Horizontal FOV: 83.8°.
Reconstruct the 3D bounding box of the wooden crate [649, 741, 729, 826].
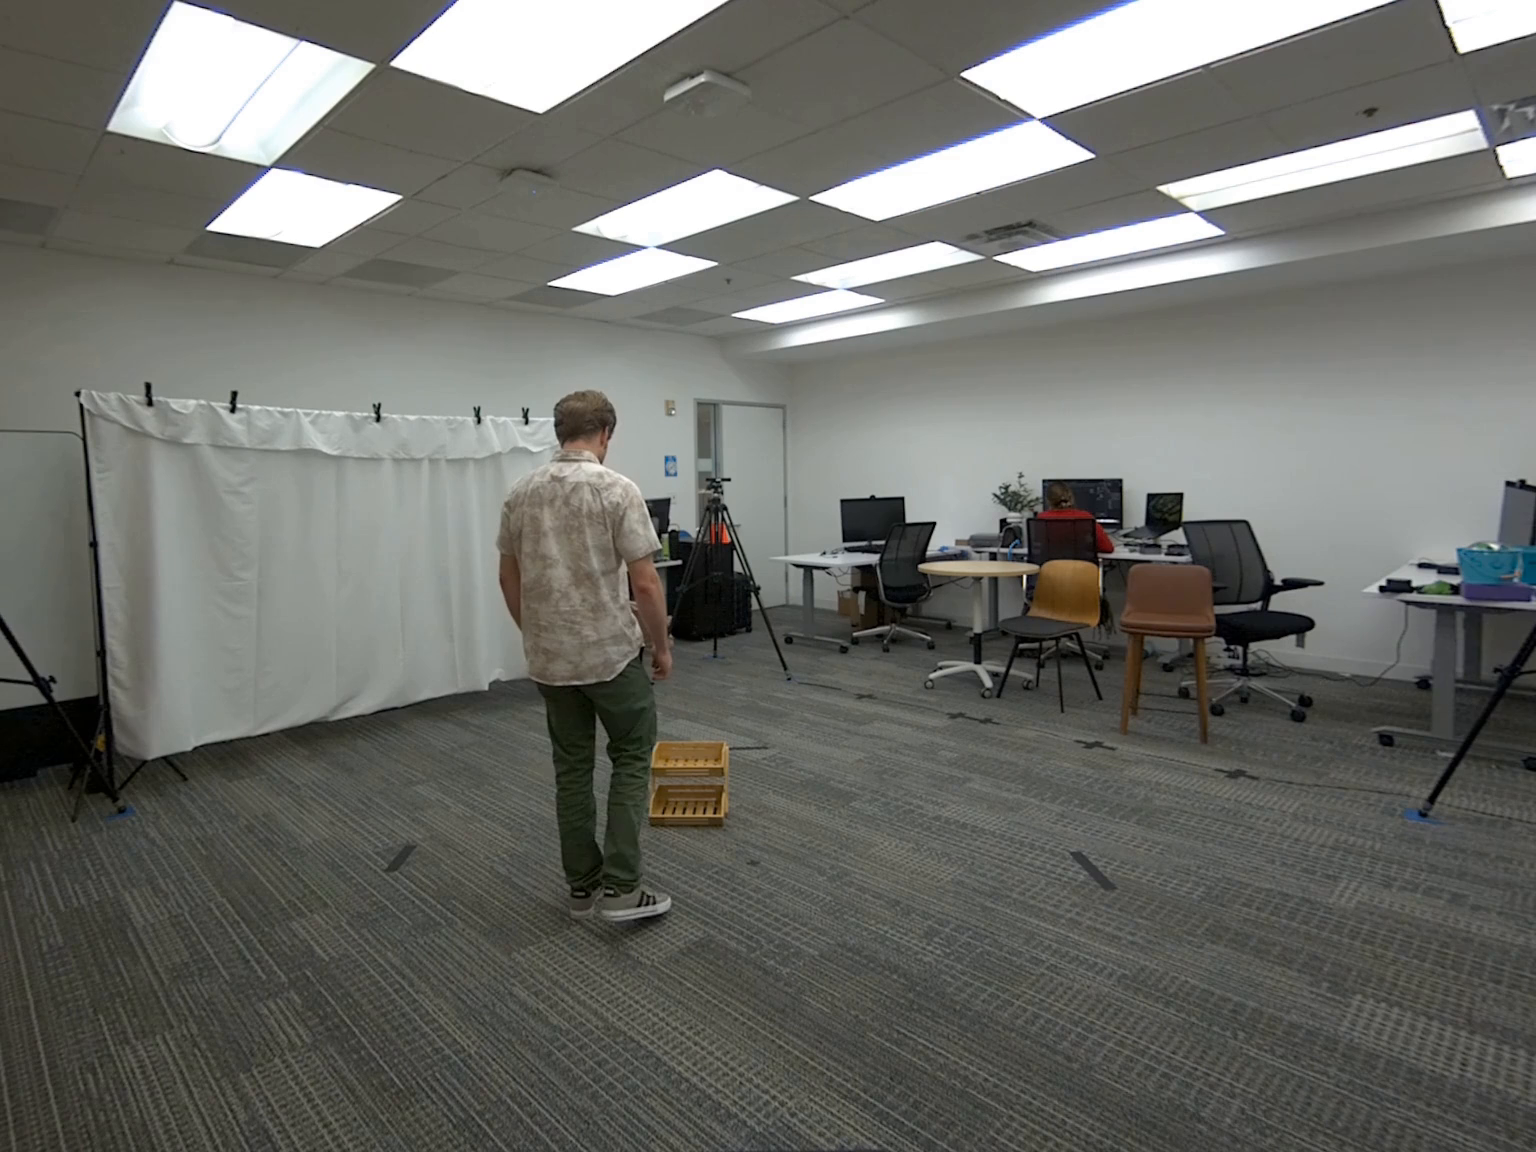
[{"bbox_3d":[-0.330,0.860,3.565,0.325,0.272,0.302,-1,5,3],"label":"wooden crate"}]
